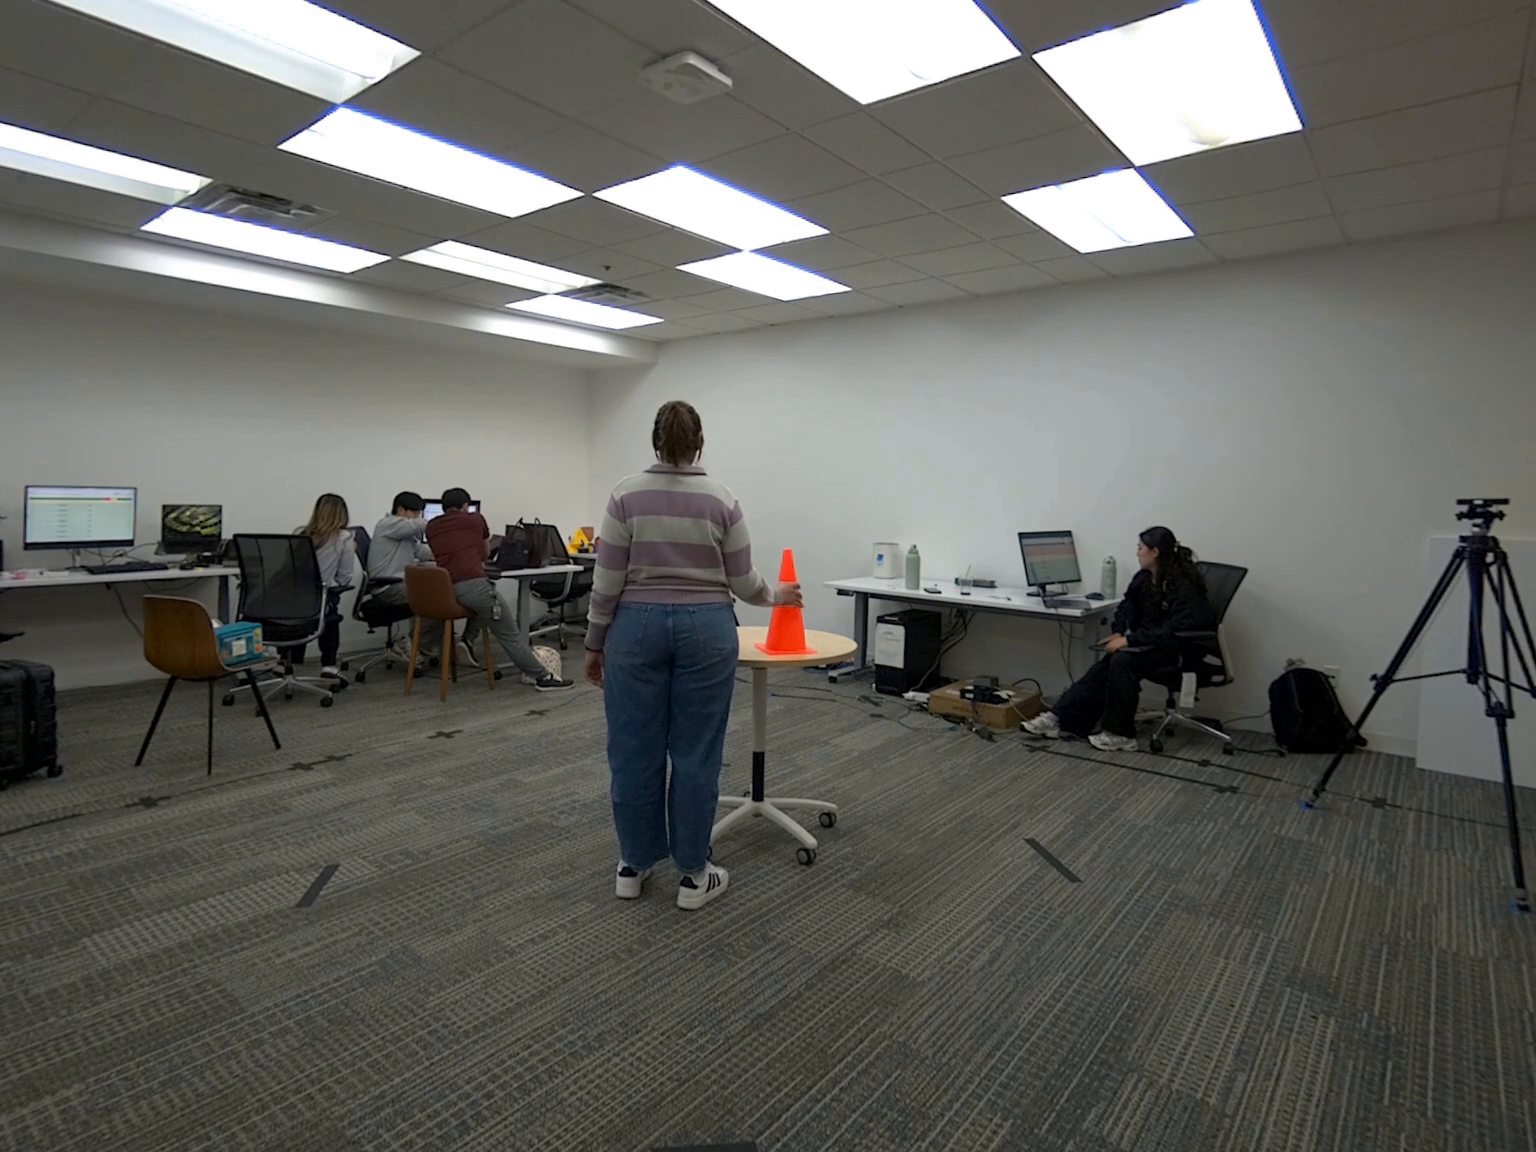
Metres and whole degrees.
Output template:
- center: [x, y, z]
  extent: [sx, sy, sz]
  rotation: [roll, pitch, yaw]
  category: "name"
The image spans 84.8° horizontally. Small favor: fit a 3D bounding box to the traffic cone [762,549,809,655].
- center: [0.066, 0.089, 3.234]
  extent: [0.200, 0.382, 0.210]
  rotation: [1, 5, -18]
  category: "traffic cone"
